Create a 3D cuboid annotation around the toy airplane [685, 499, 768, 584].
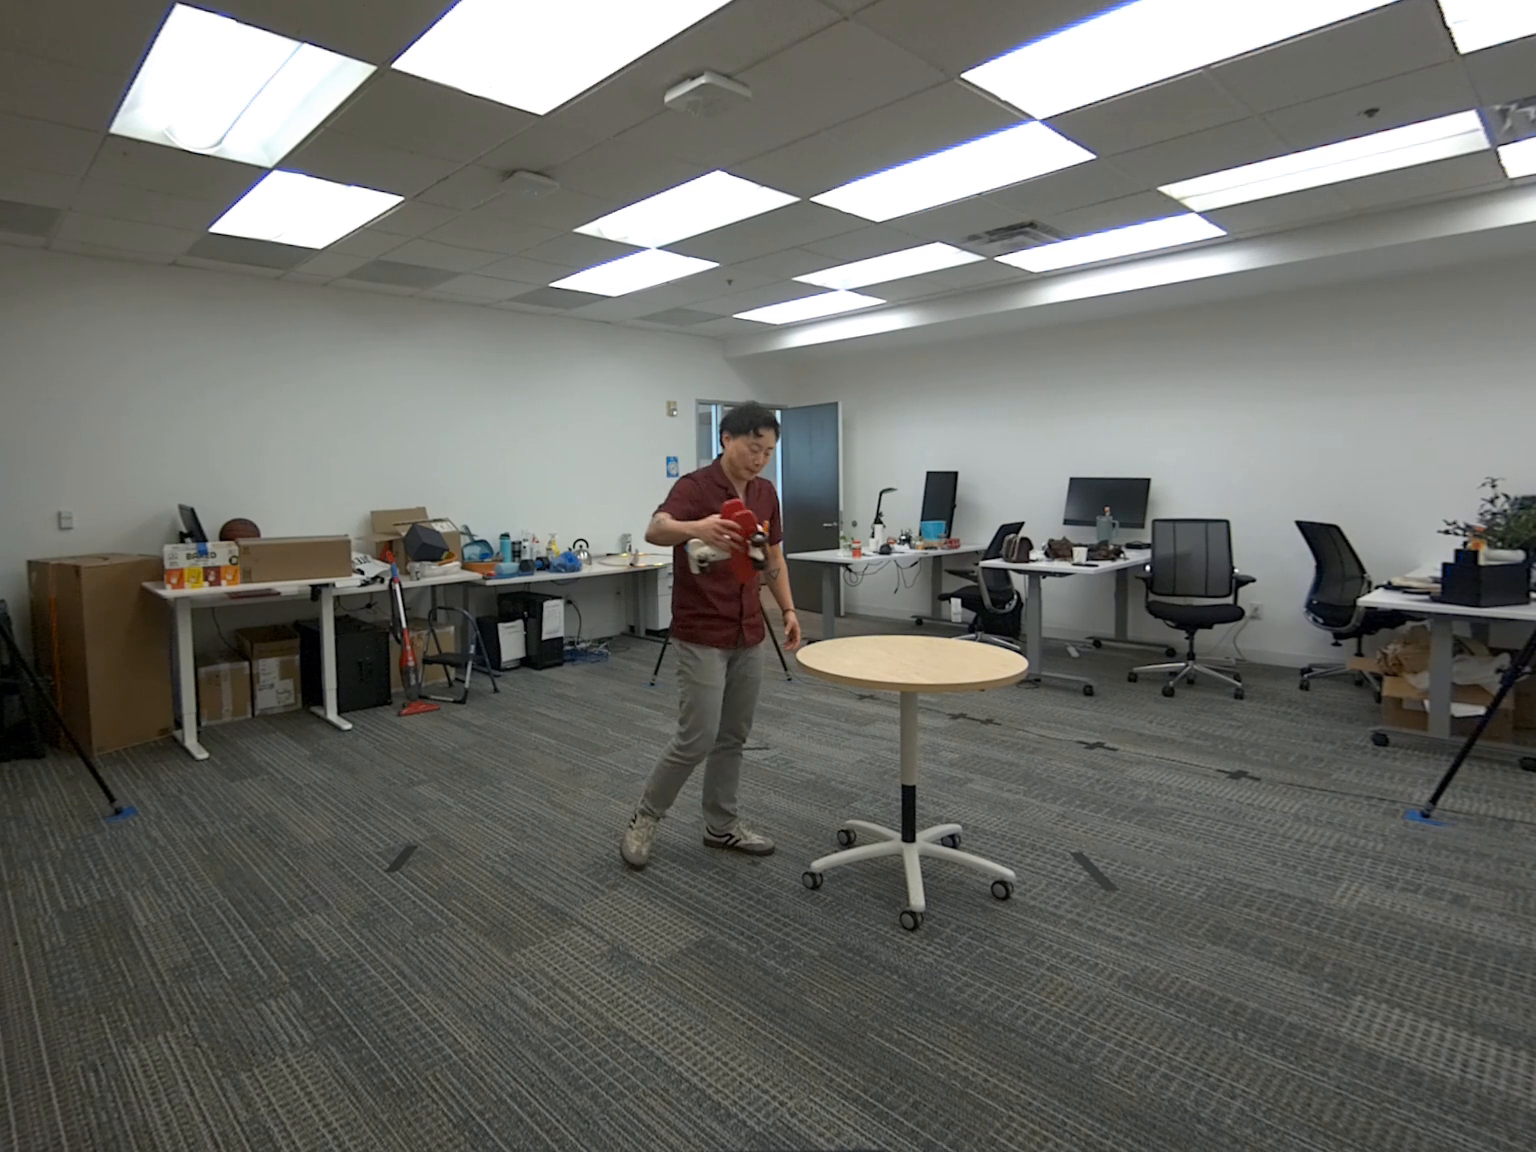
[{"bbox_3d":[-0.132,-0.096,2.624,0.254,0.248,0.161,12,28,-19],"label":"toy airplane"}]
